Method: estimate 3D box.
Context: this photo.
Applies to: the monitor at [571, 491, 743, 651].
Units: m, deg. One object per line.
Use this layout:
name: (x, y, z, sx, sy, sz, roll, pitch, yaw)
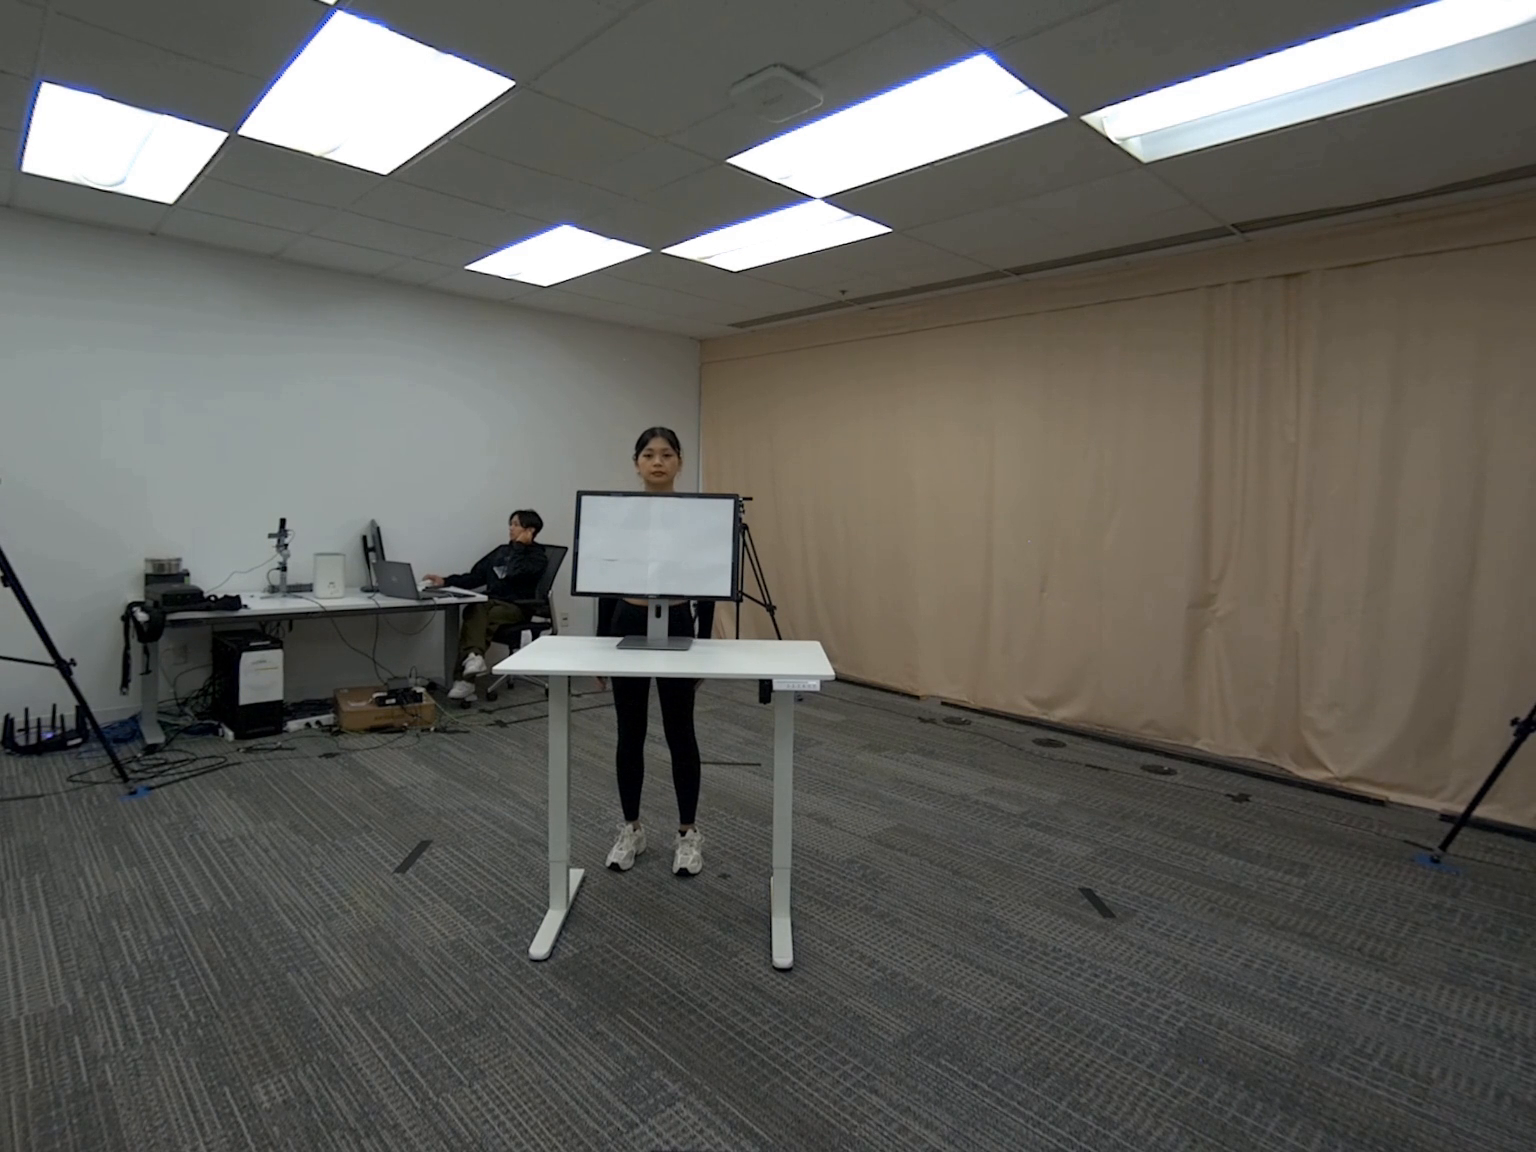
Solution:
monitor: (-0.376, -0.014, 2.884, 0.540, 0.521, 0.187, 0, 5, 2)
